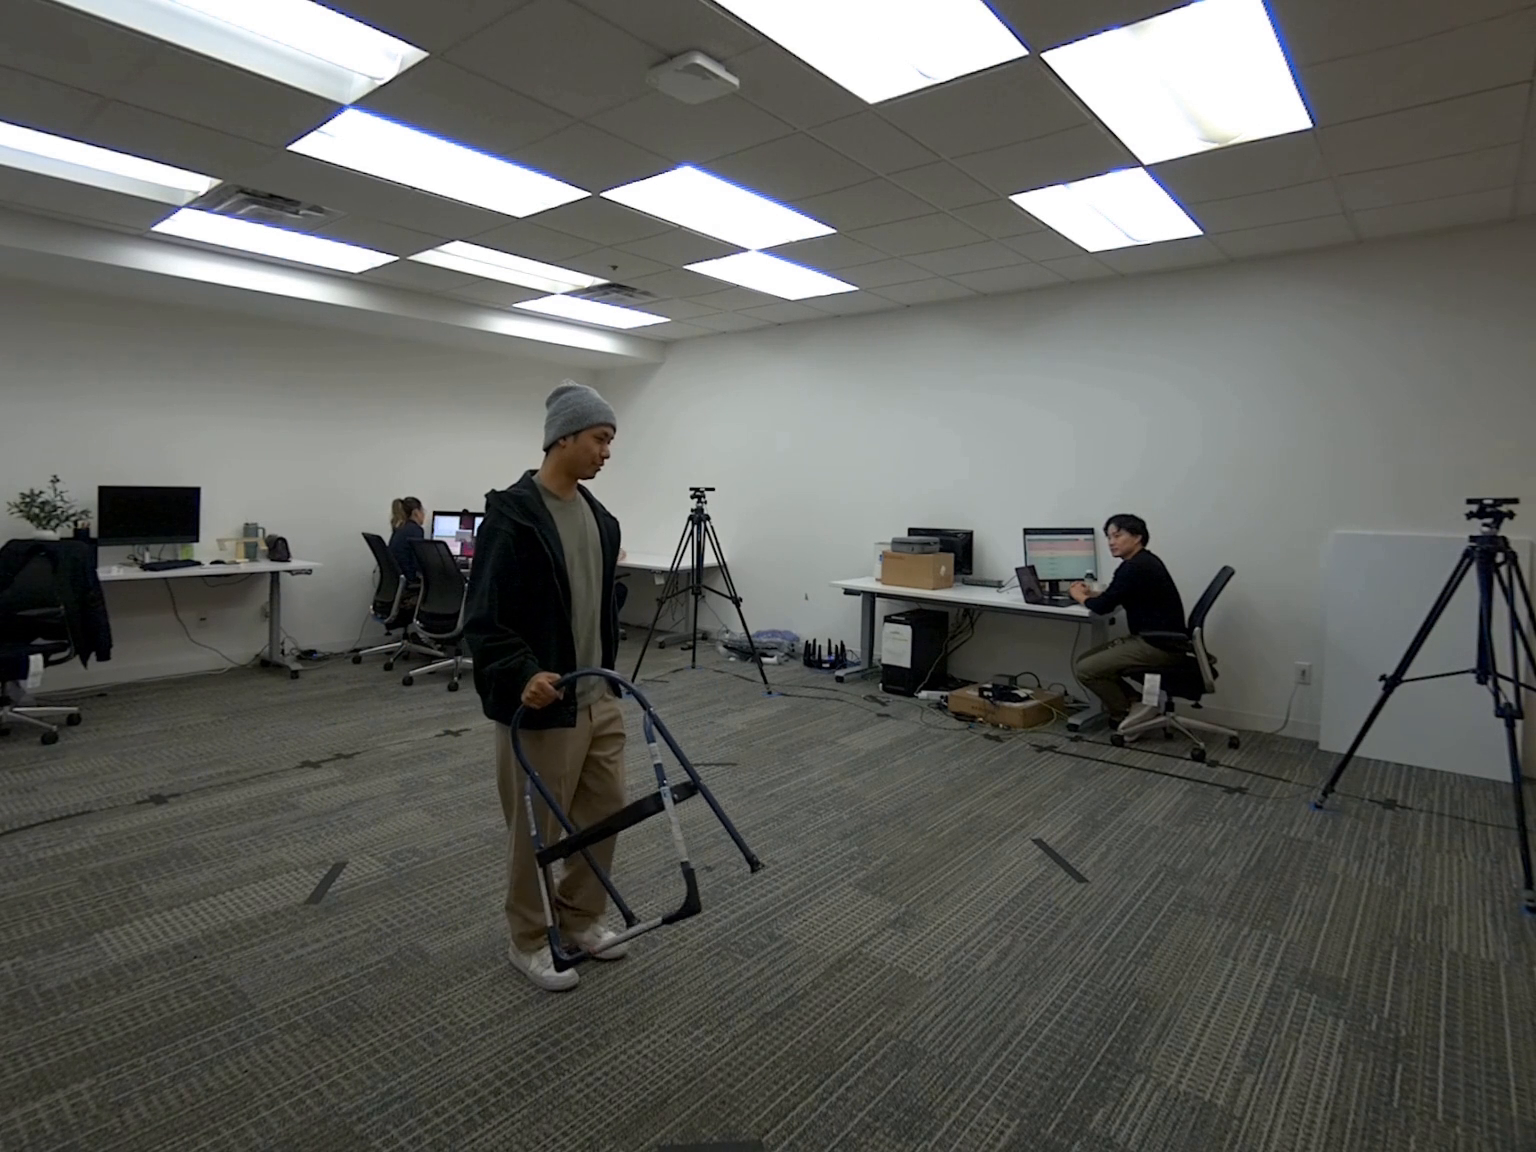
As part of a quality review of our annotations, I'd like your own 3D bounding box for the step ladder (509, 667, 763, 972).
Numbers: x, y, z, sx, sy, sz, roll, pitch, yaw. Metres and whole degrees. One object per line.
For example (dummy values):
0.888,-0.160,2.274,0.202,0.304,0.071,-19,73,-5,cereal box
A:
-0.381,0.539,2.076,0.434,0.618,0.340,-31,-15,19,step ladder
